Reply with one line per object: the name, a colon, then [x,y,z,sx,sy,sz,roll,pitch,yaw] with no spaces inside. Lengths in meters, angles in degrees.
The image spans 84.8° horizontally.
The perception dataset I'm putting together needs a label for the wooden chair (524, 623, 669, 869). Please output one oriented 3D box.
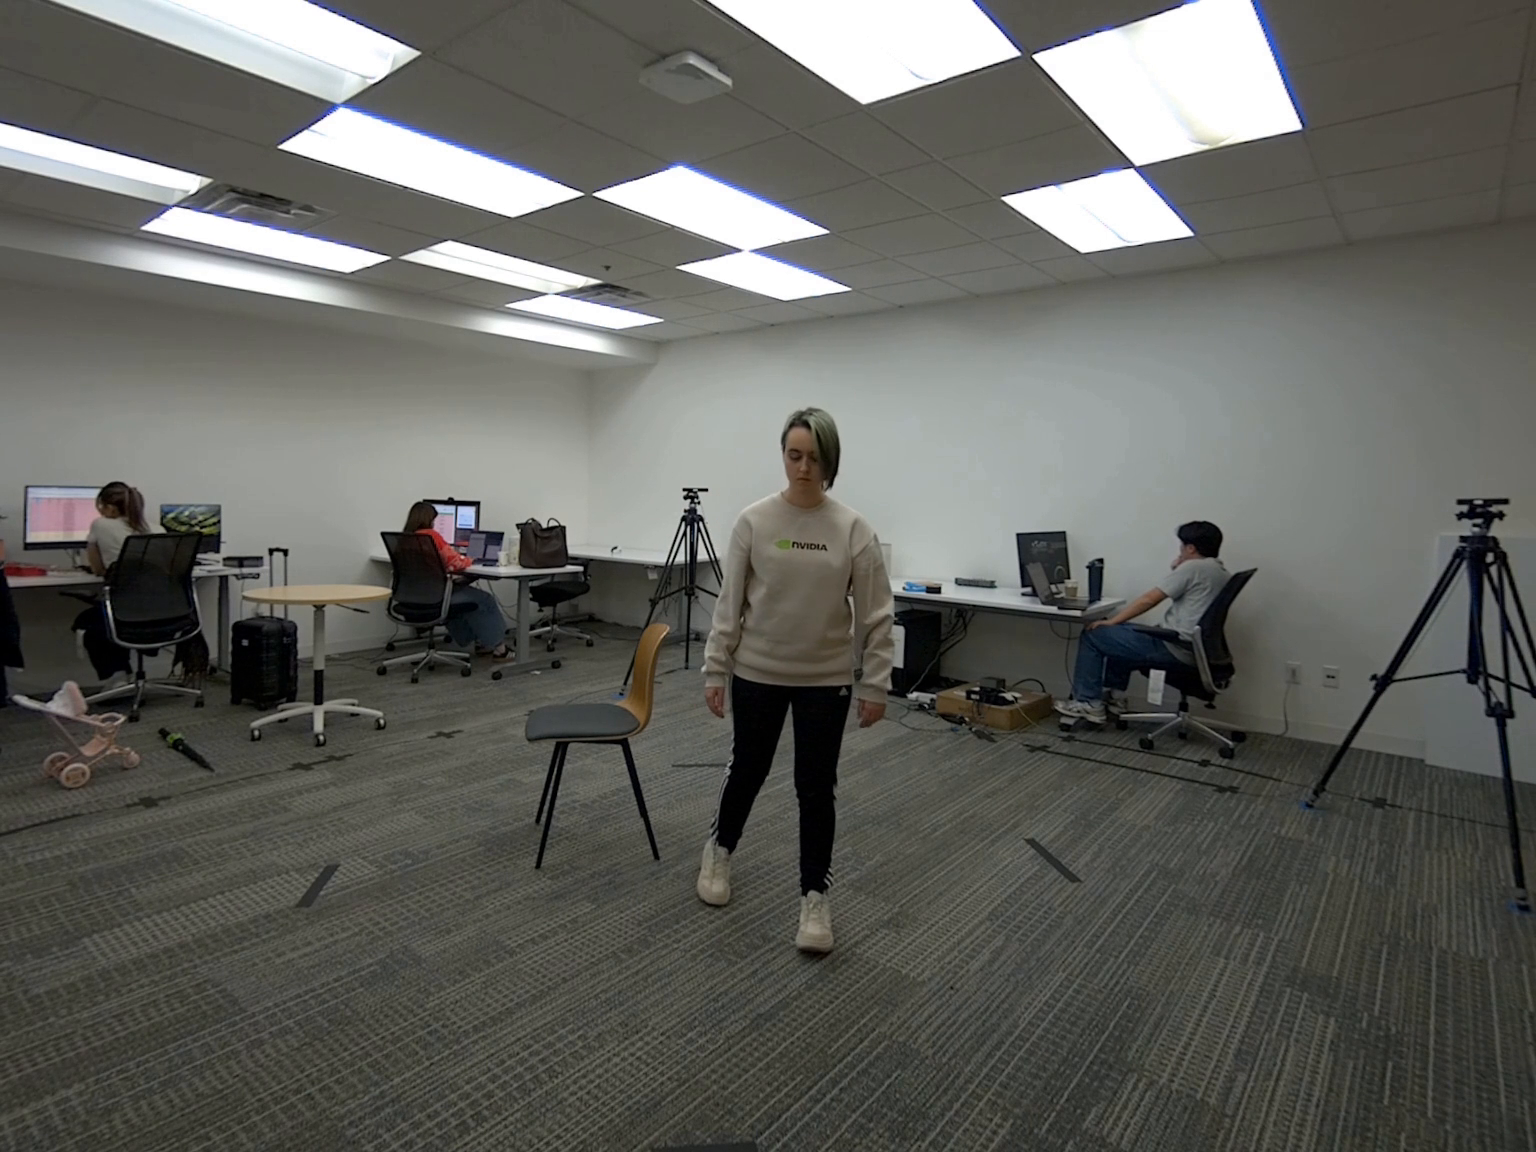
wooden chair: [-0.694,0.615,3.310,0.514,0.876,0.487,5,3,-16]
